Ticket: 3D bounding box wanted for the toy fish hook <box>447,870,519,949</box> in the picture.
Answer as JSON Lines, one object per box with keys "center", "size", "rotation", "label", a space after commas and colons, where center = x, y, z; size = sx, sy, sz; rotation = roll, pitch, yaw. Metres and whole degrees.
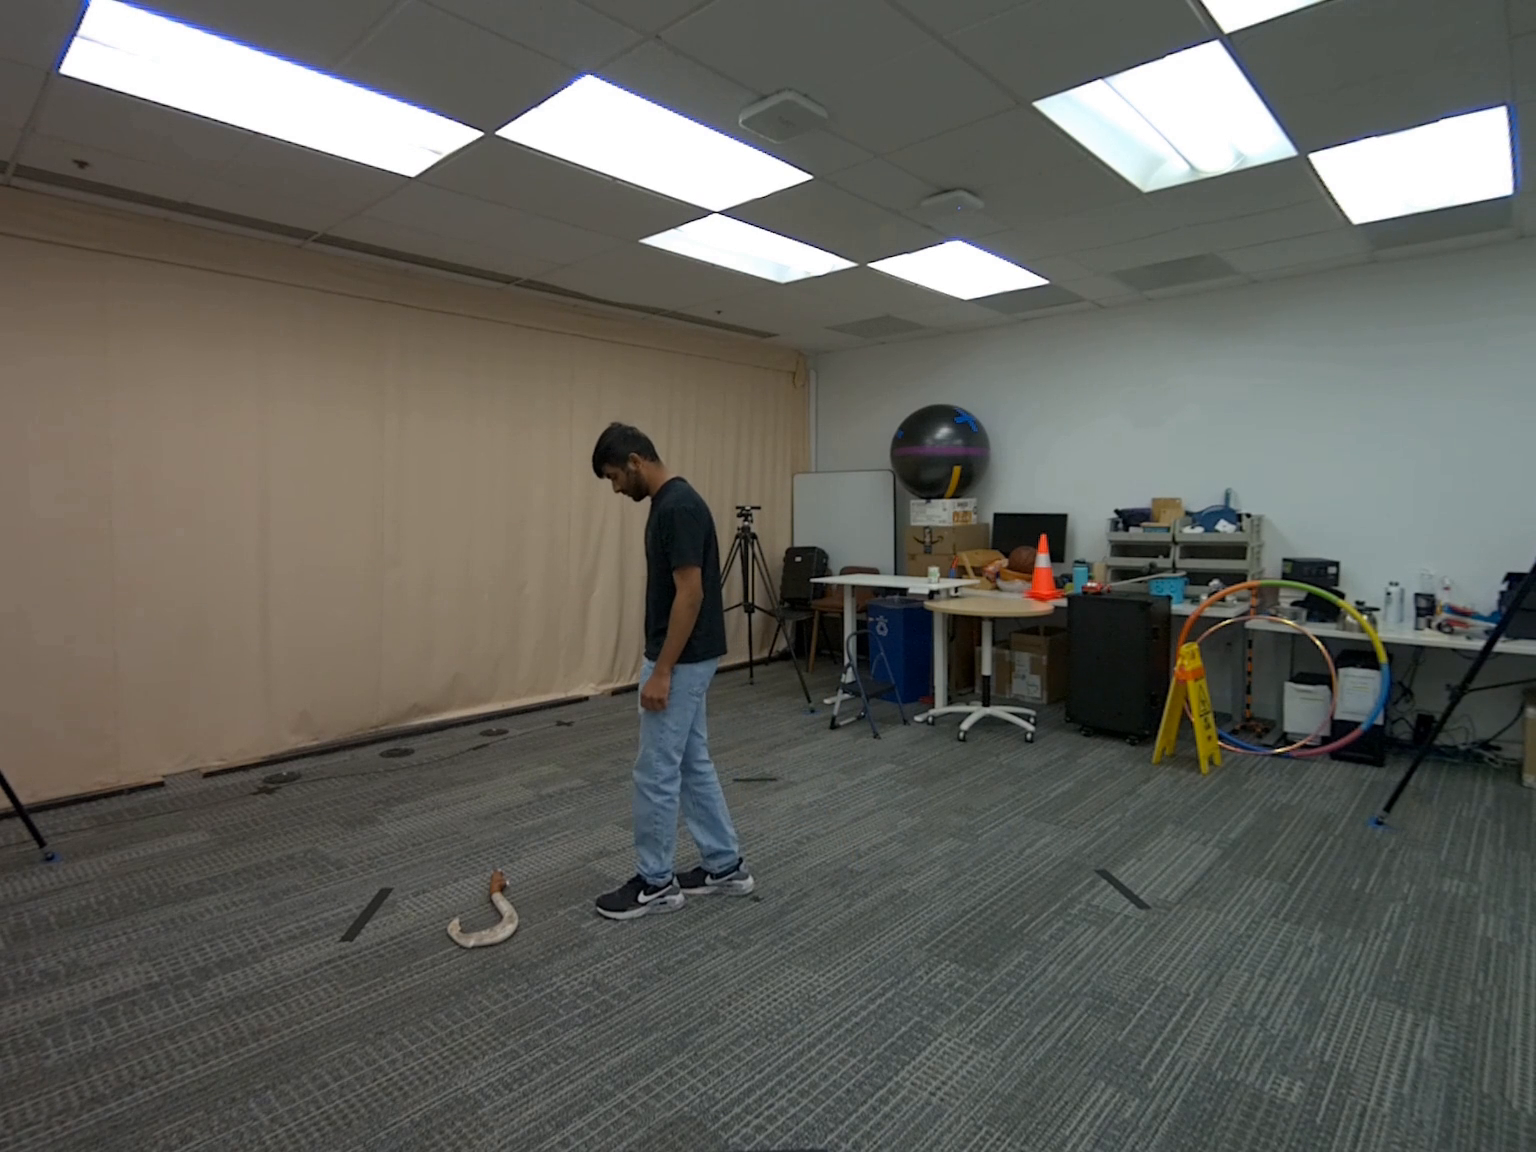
{"center": [-0.983, 1.138, 2.894], "size": [0.220, 0.048, 0.517], "rotation": [0, 4, -20], "label": "toy fish hook"}
